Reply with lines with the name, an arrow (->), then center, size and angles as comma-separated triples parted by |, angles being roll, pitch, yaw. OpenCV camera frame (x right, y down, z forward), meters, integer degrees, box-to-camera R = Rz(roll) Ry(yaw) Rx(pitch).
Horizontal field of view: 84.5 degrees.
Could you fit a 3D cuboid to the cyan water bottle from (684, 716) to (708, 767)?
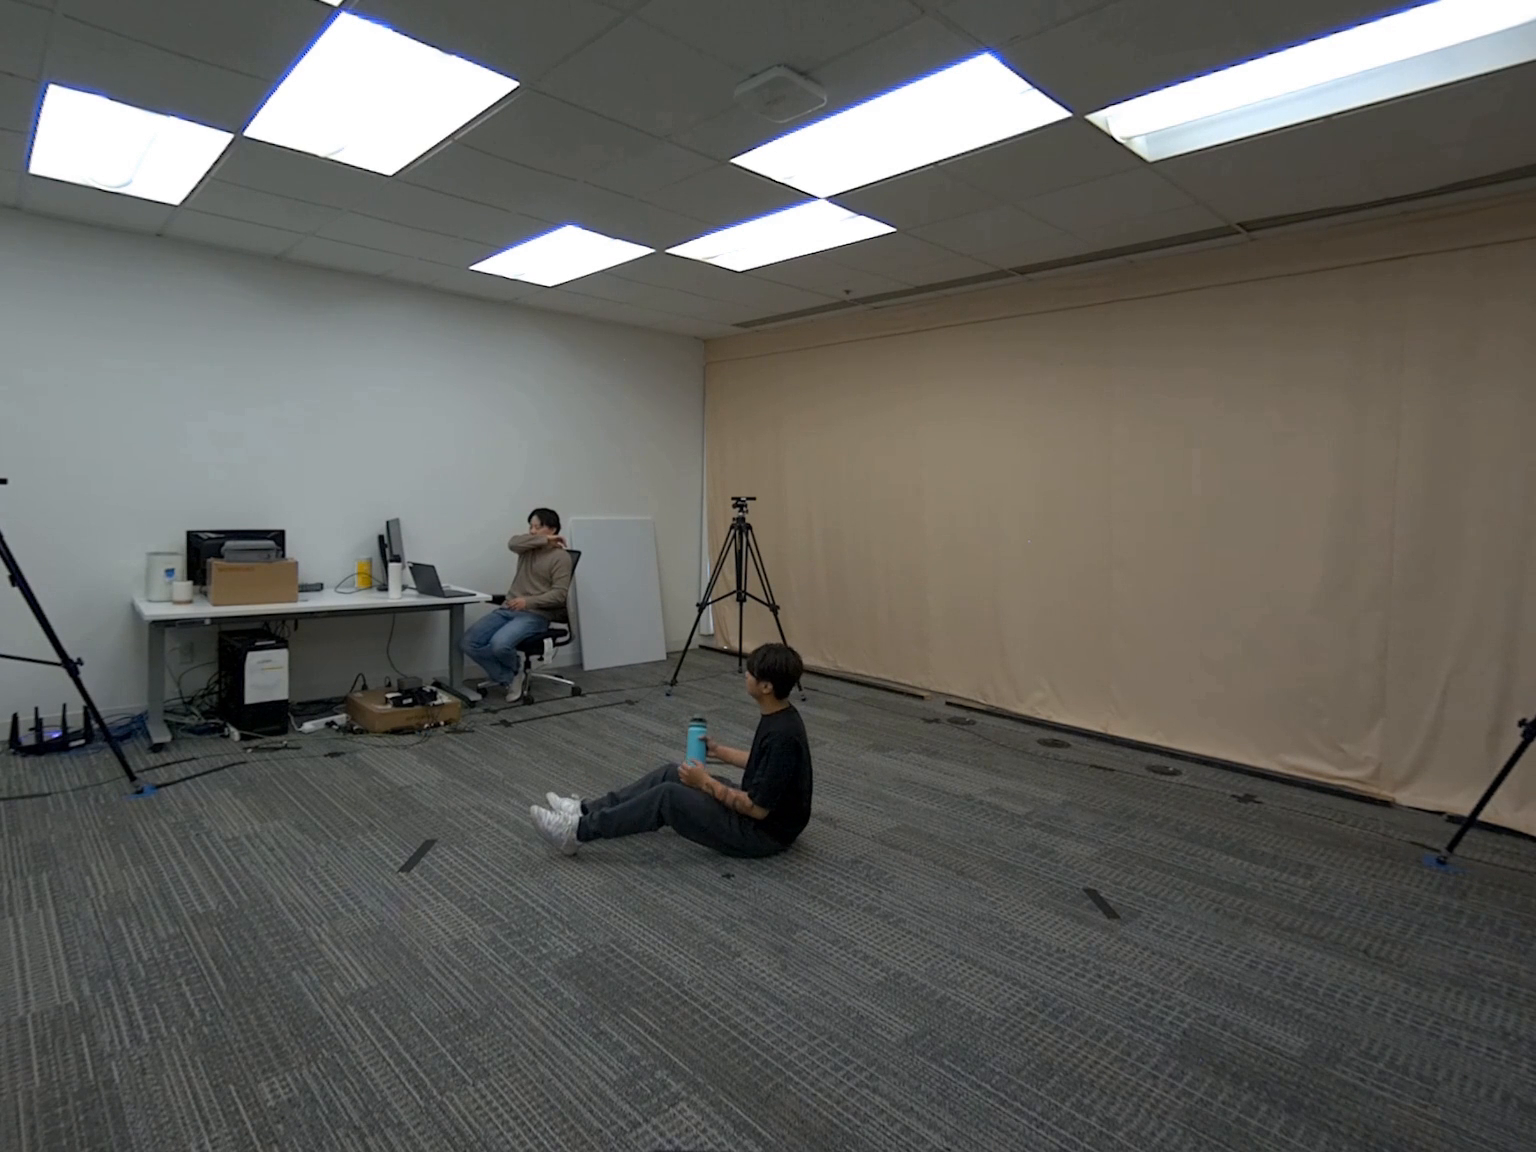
cyan water bottle -> -0.321, 0.762, 3.735 | 0.092, 0.287, 0.091 | 0, -16, -1
